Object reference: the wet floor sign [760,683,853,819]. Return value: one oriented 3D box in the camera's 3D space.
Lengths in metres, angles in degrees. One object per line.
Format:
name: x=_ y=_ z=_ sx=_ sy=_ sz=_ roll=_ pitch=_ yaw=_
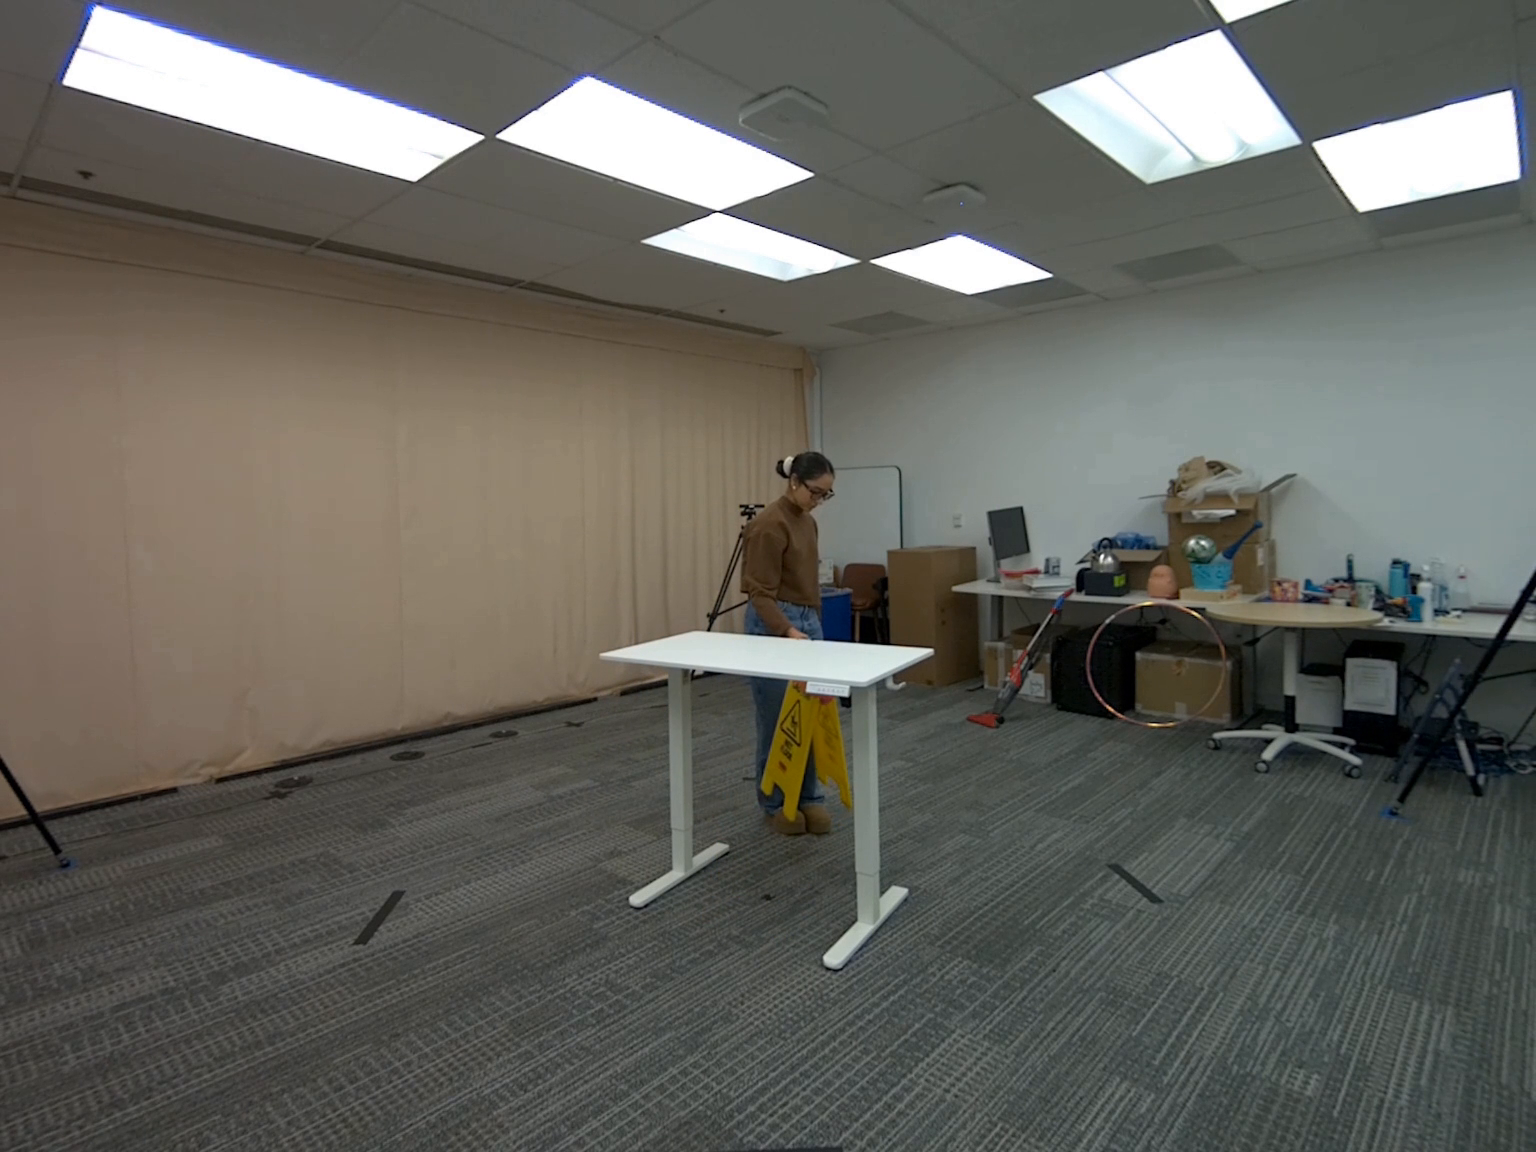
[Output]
wet floor sign: x=0.167 y=0.583 z=3.318 sx=0.283 sy=0.641 sz=0.290 roll=-5 pitch=14 yaw=-23
